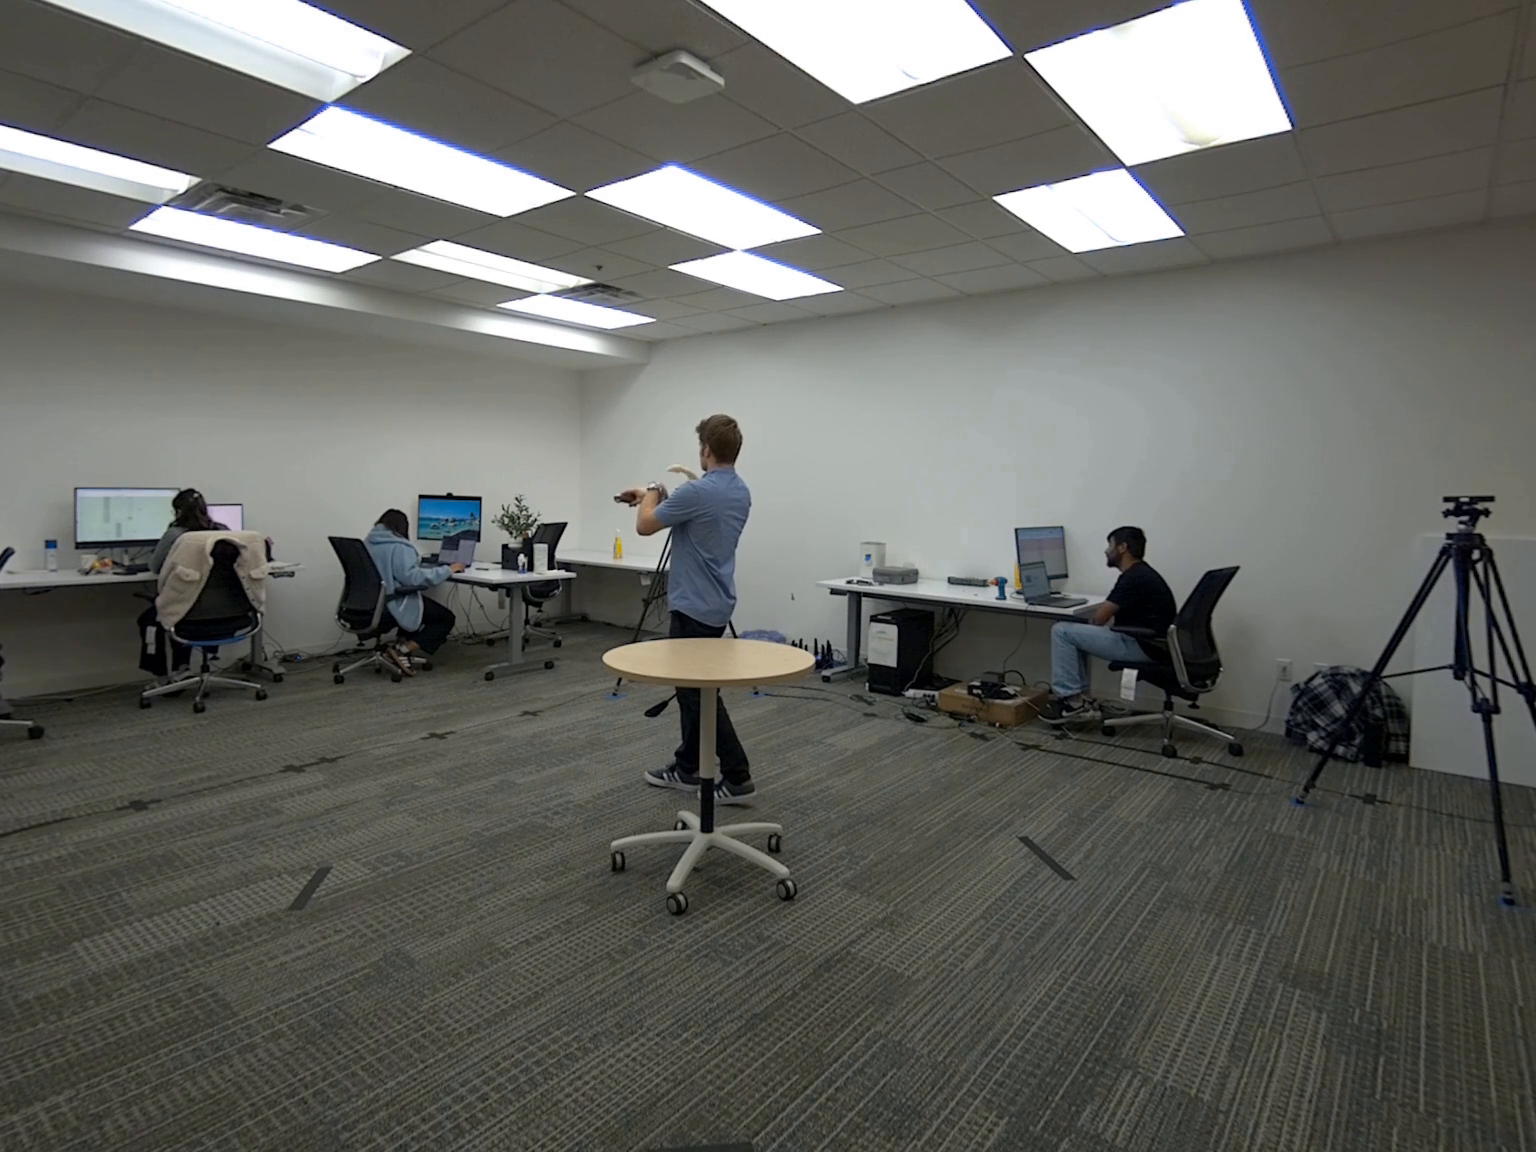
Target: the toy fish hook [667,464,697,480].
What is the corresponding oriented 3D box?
[{"bbox_3d":[-0.550,-0.440,4.194,0.491,0.225,0.049,-2,-5,-40],"label":"toy fish hook"}]
